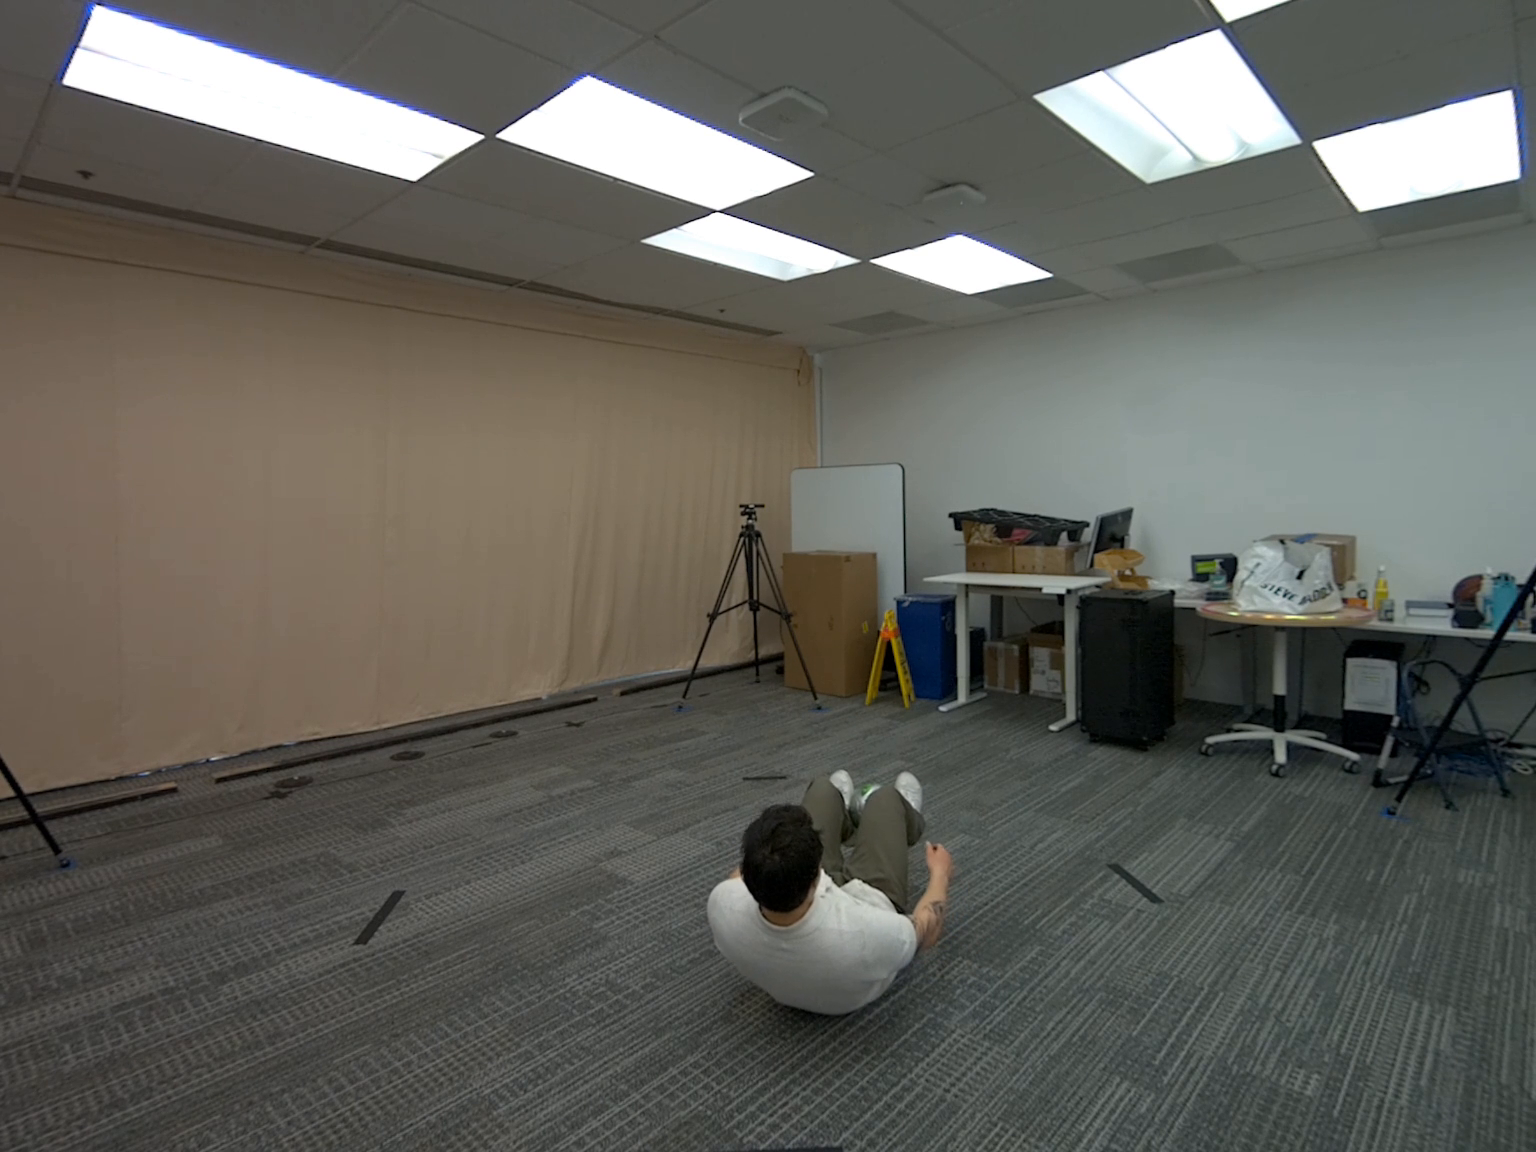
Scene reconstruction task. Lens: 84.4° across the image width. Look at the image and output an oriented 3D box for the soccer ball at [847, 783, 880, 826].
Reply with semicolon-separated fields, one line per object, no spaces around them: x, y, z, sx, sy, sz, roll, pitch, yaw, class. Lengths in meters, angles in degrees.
0.405;0.859;3.071;0.187;0.187;0.188;-1;4;-2;soccer ball
